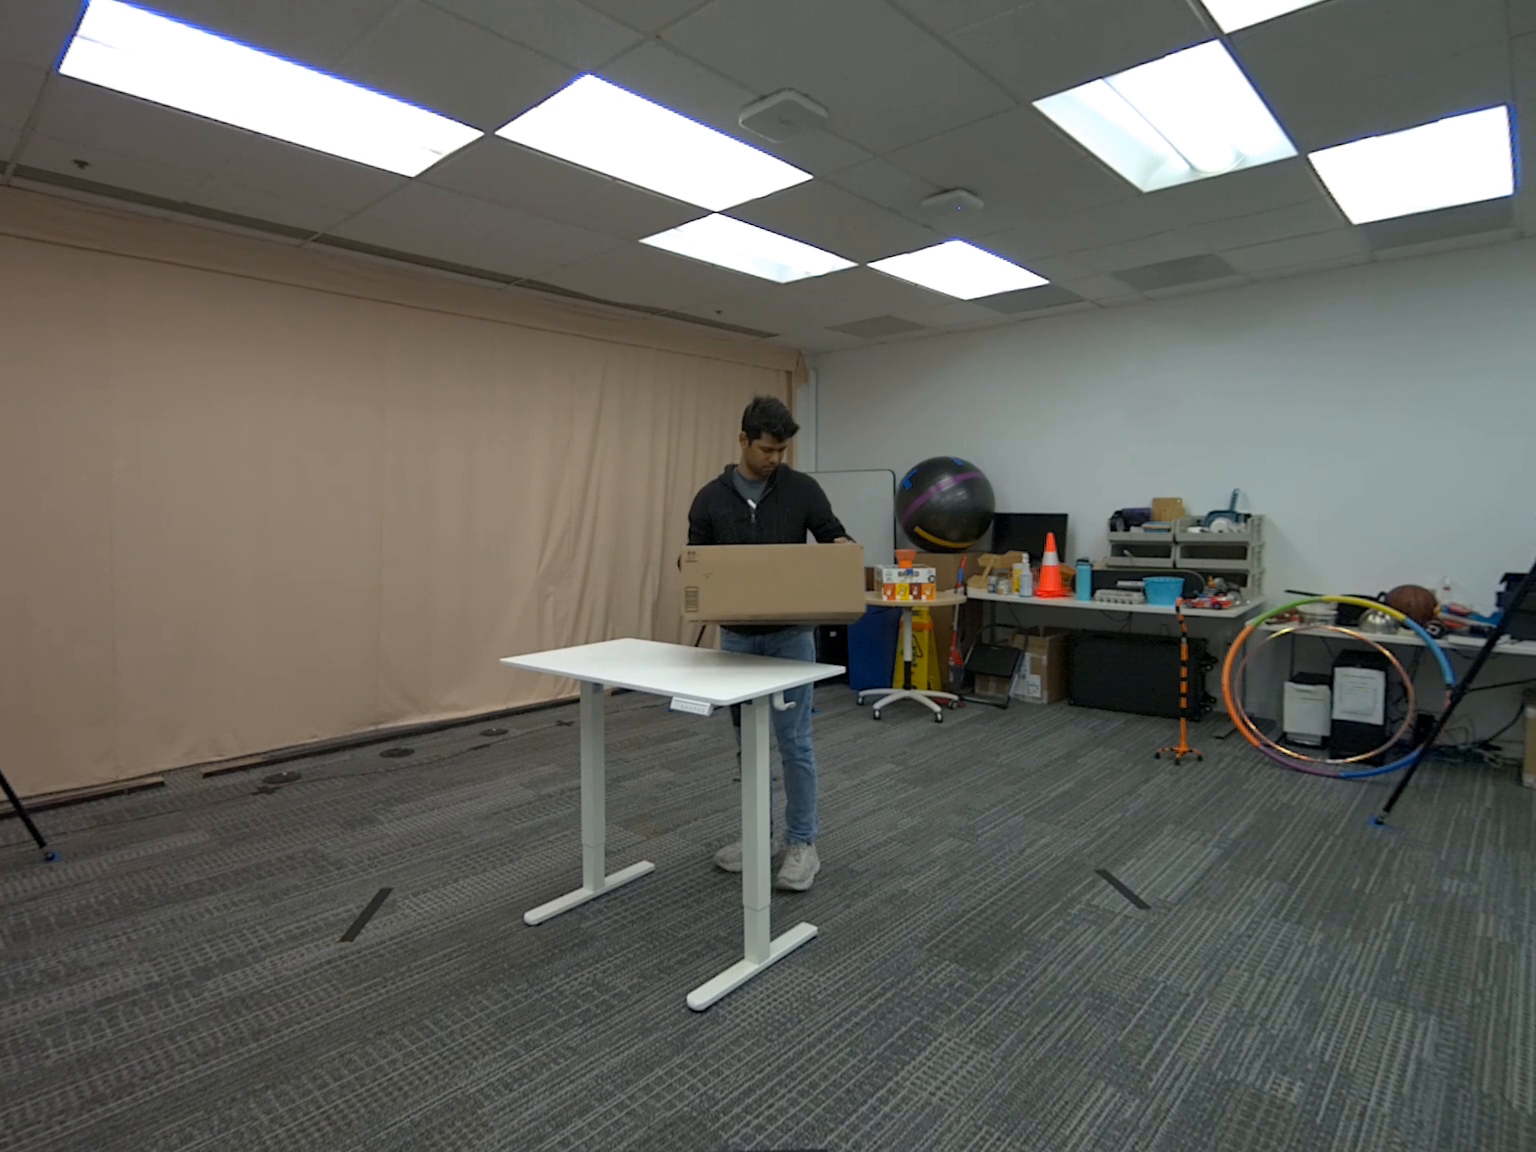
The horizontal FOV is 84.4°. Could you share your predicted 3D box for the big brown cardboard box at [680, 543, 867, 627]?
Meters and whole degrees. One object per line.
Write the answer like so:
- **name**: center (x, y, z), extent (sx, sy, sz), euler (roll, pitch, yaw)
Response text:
- **big brown cardboard box**: center (0.020, 0.038, 2.800), extent (0.590, 0.234, 0.414), euler (-1, -8, 1)
